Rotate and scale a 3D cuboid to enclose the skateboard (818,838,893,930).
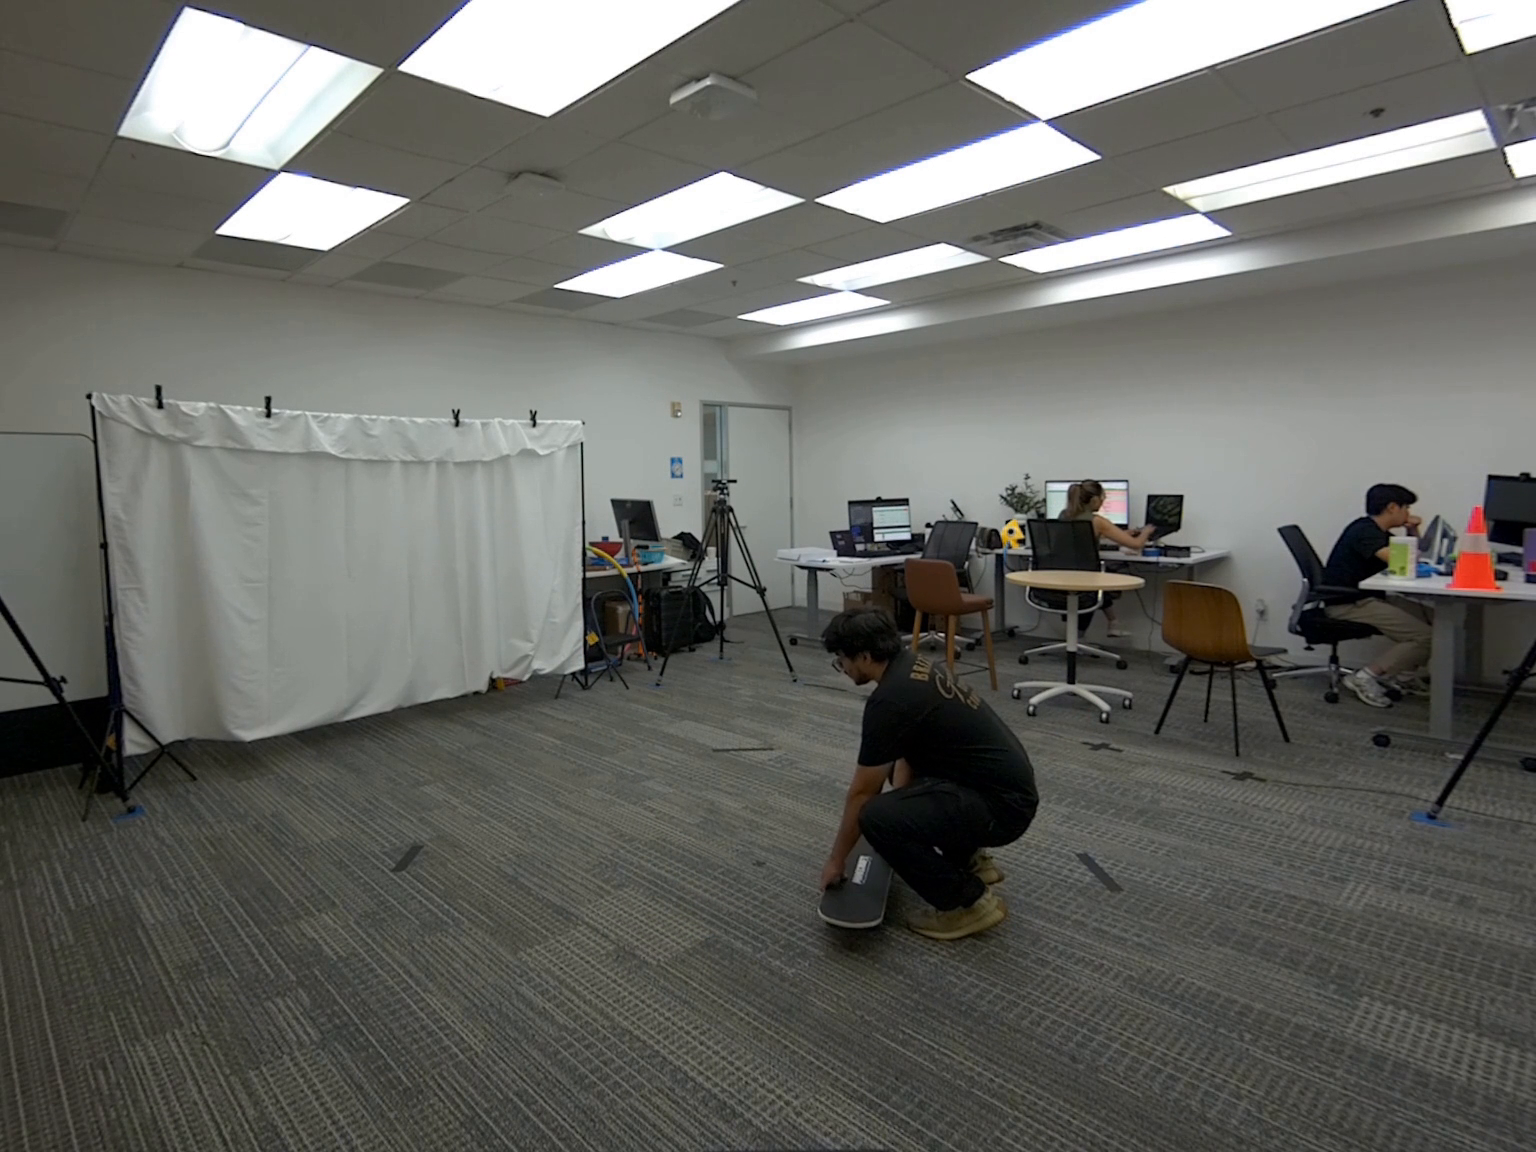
[{"bbox_3d":[0.312,1.009,2.859,0.196,0.110,0.779,1,7,12],"label":"skateboard"}]
